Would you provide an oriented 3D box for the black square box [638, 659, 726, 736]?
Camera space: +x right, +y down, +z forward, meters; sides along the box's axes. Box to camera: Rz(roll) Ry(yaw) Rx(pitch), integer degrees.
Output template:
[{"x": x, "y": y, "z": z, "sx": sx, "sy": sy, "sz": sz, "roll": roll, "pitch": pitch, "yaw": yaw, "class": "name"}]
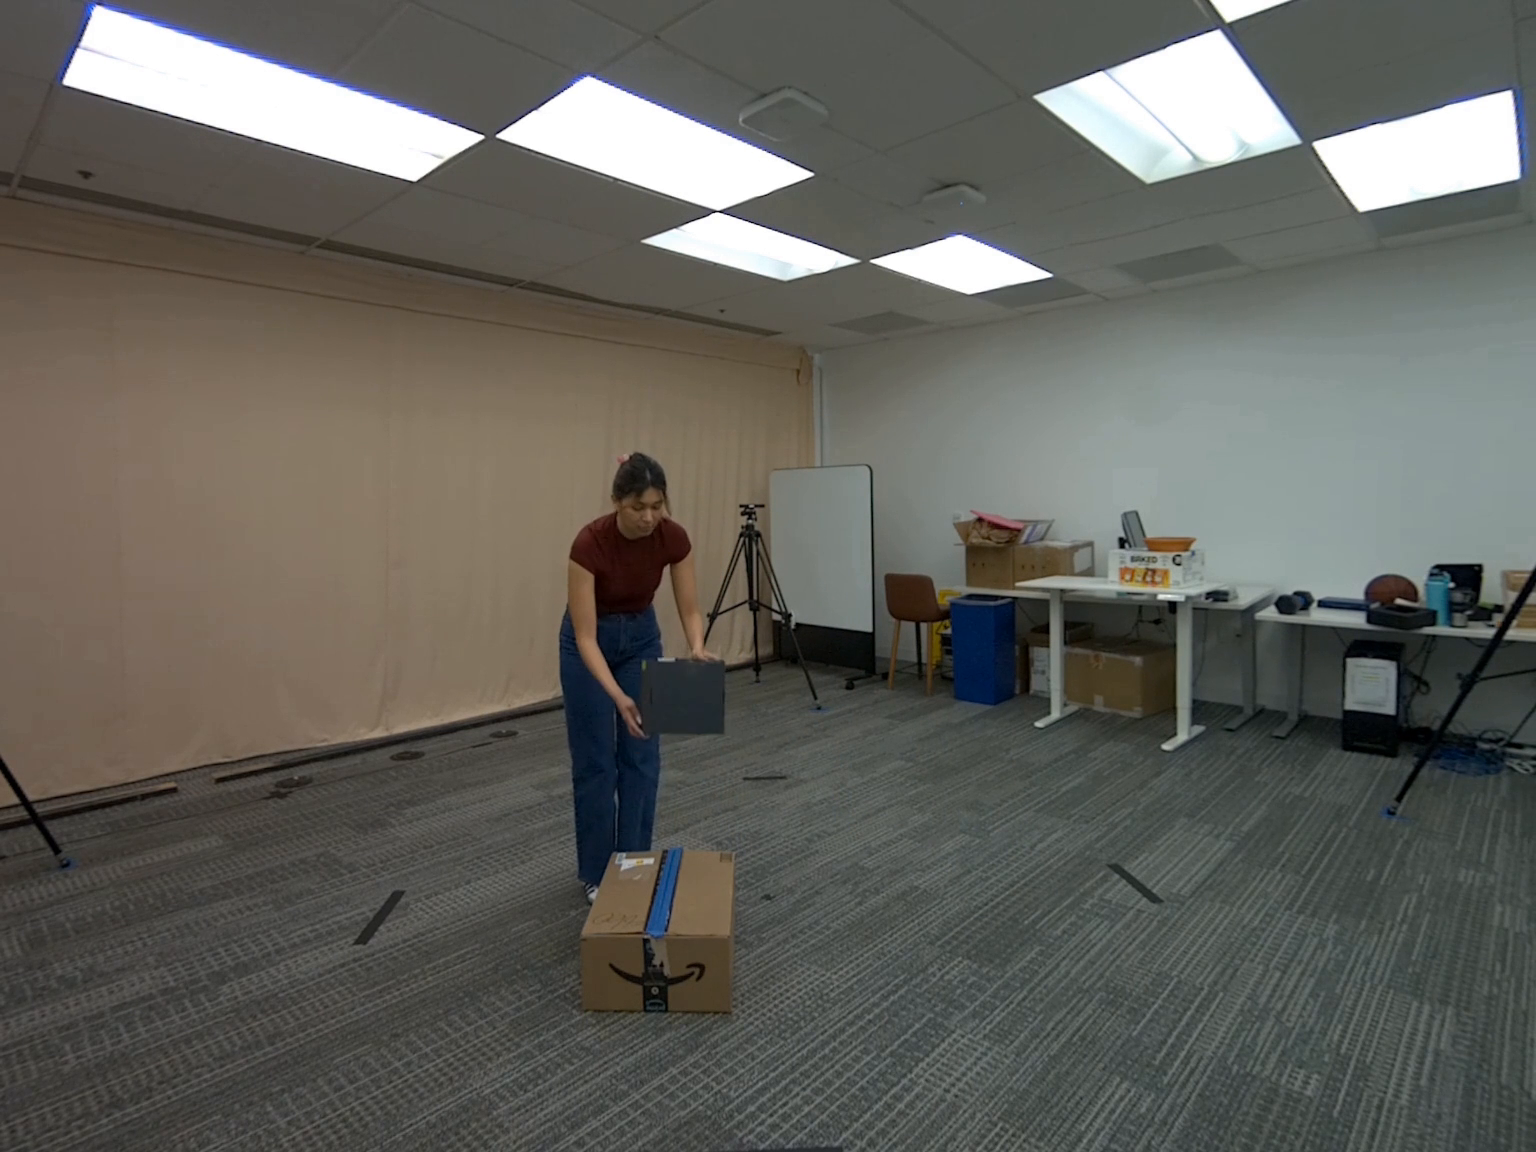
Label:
[{"x": -0.261, "y": 0.362, "z": 2.540, "sx": 0.224, "sy": 0.218, "sz": 0.158, "roll": 2, "pitch": -6, "yaw": -14, "class": "black square box"}]
